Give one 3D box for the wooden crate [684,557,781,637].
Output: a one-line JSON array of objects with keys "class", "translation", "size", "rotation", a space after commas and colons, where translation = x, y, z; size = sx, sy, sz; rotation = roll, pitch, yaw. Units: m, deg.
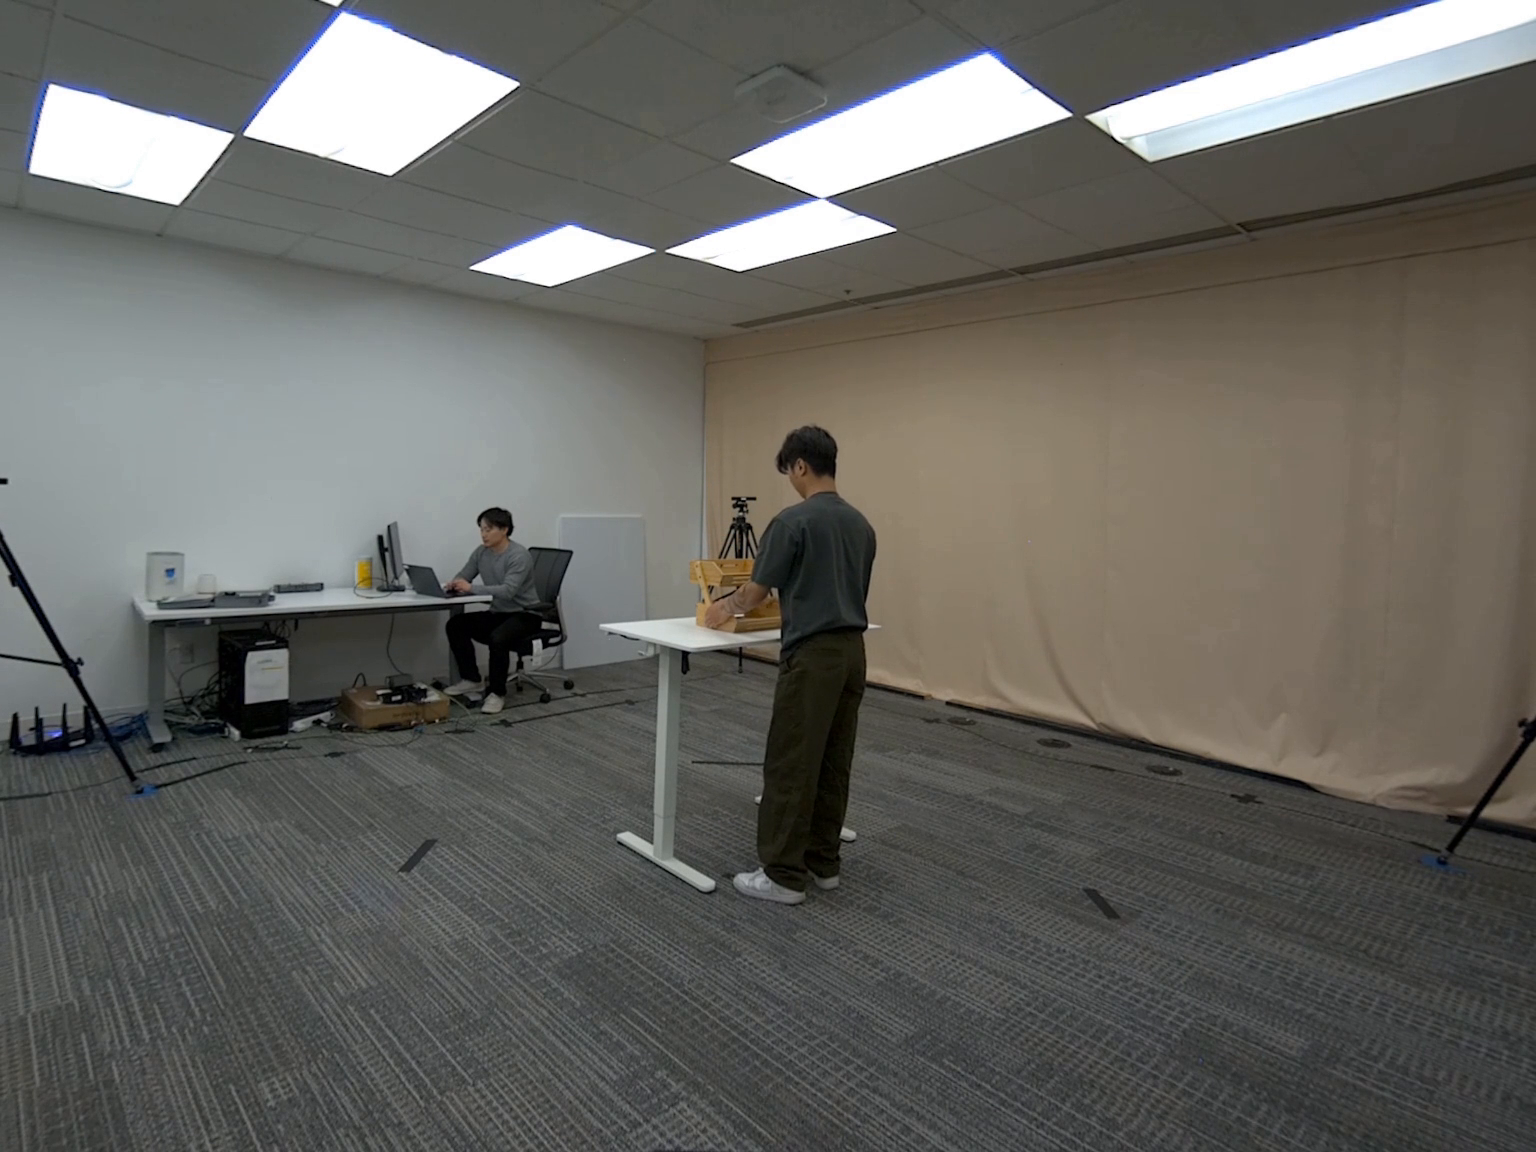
[{"class": "wooden crate", "translation": [-0.110, 0.071, 3.377], "size": [0.317, 0.273, 0.310], "rotation": [-1, 5, -42]}]
